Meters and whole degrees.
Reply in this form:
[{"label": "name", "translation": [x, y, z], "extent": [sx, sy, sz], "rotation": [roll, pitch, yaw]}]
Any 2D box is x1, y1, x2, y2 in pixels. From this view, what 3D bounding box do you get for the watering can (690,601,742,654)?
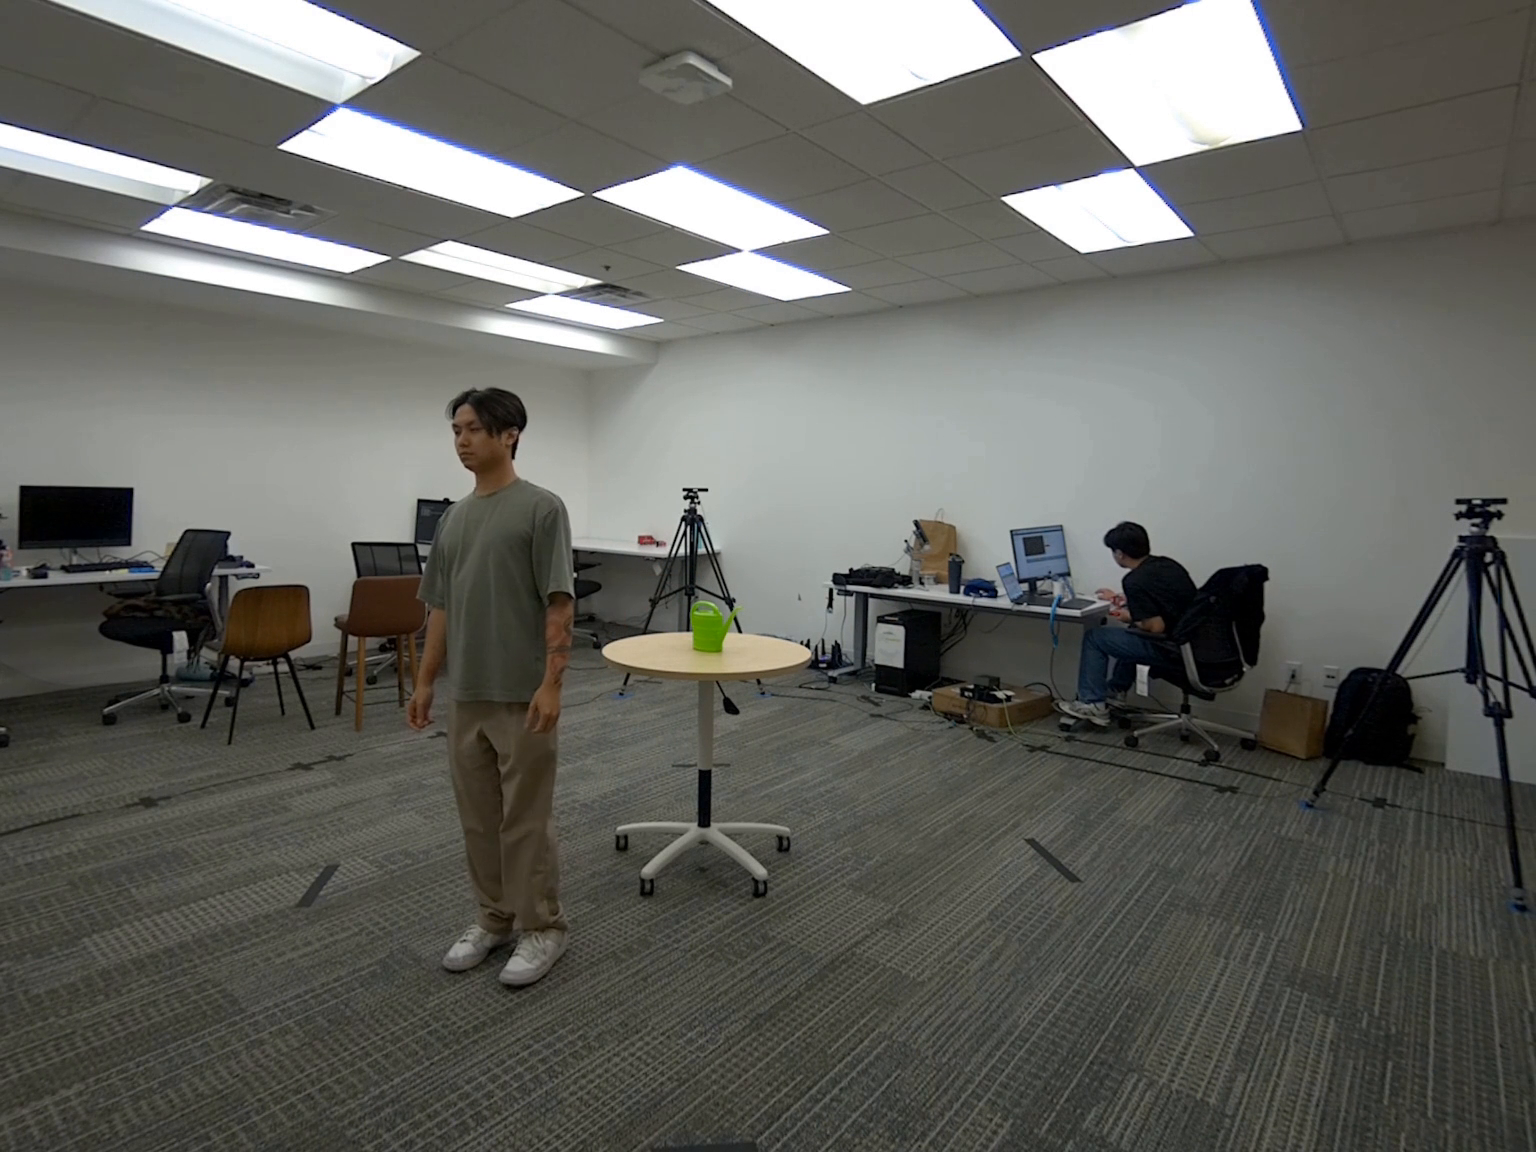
[{"label": "watering can", "translation": [-0.210, 0.183, 3.103], "extent": [0.095, 0.176, 0.287], "rotation": [-3, 5, -31]}]
